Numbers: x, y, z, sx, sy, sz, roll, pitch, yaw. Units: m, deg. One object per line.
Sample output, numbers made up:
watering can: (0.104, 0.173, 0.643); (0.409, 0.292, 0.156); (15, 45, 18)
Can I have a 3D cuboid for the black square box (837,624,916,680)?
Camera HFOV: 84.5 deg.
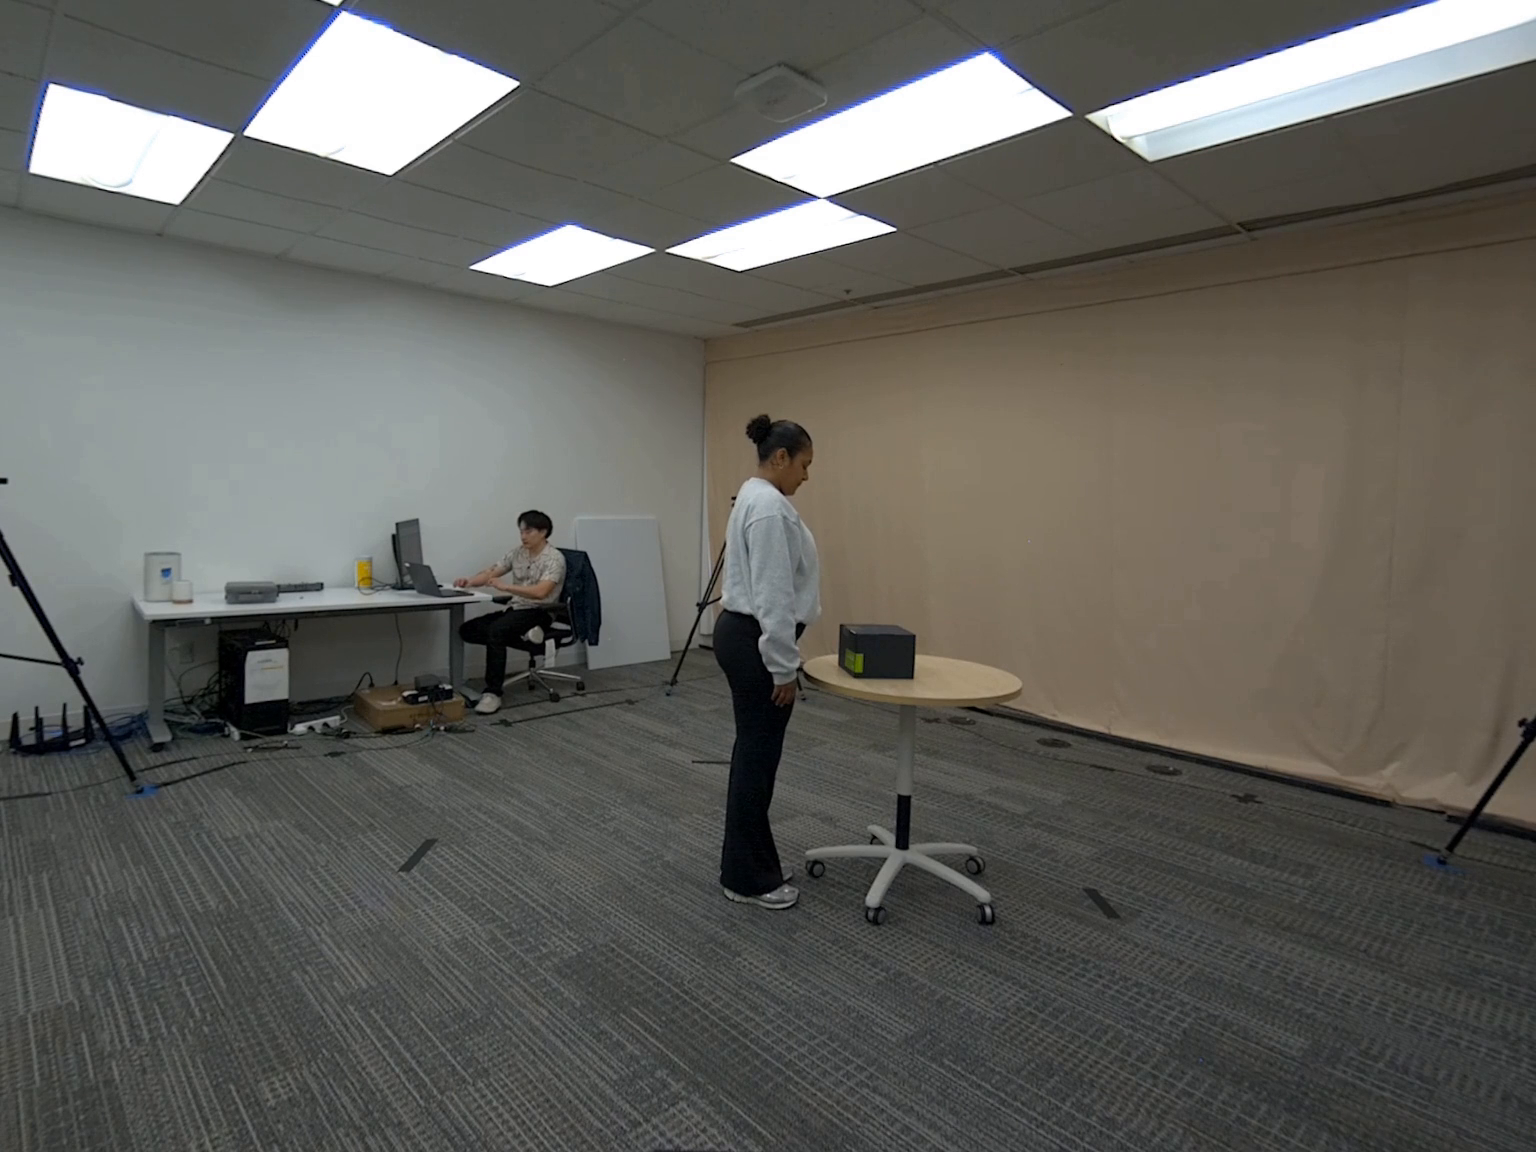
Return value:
black square box: (0.384, 0.263, 3.000); (0.215, 0.155, 0.230); (1, 5, -9)
